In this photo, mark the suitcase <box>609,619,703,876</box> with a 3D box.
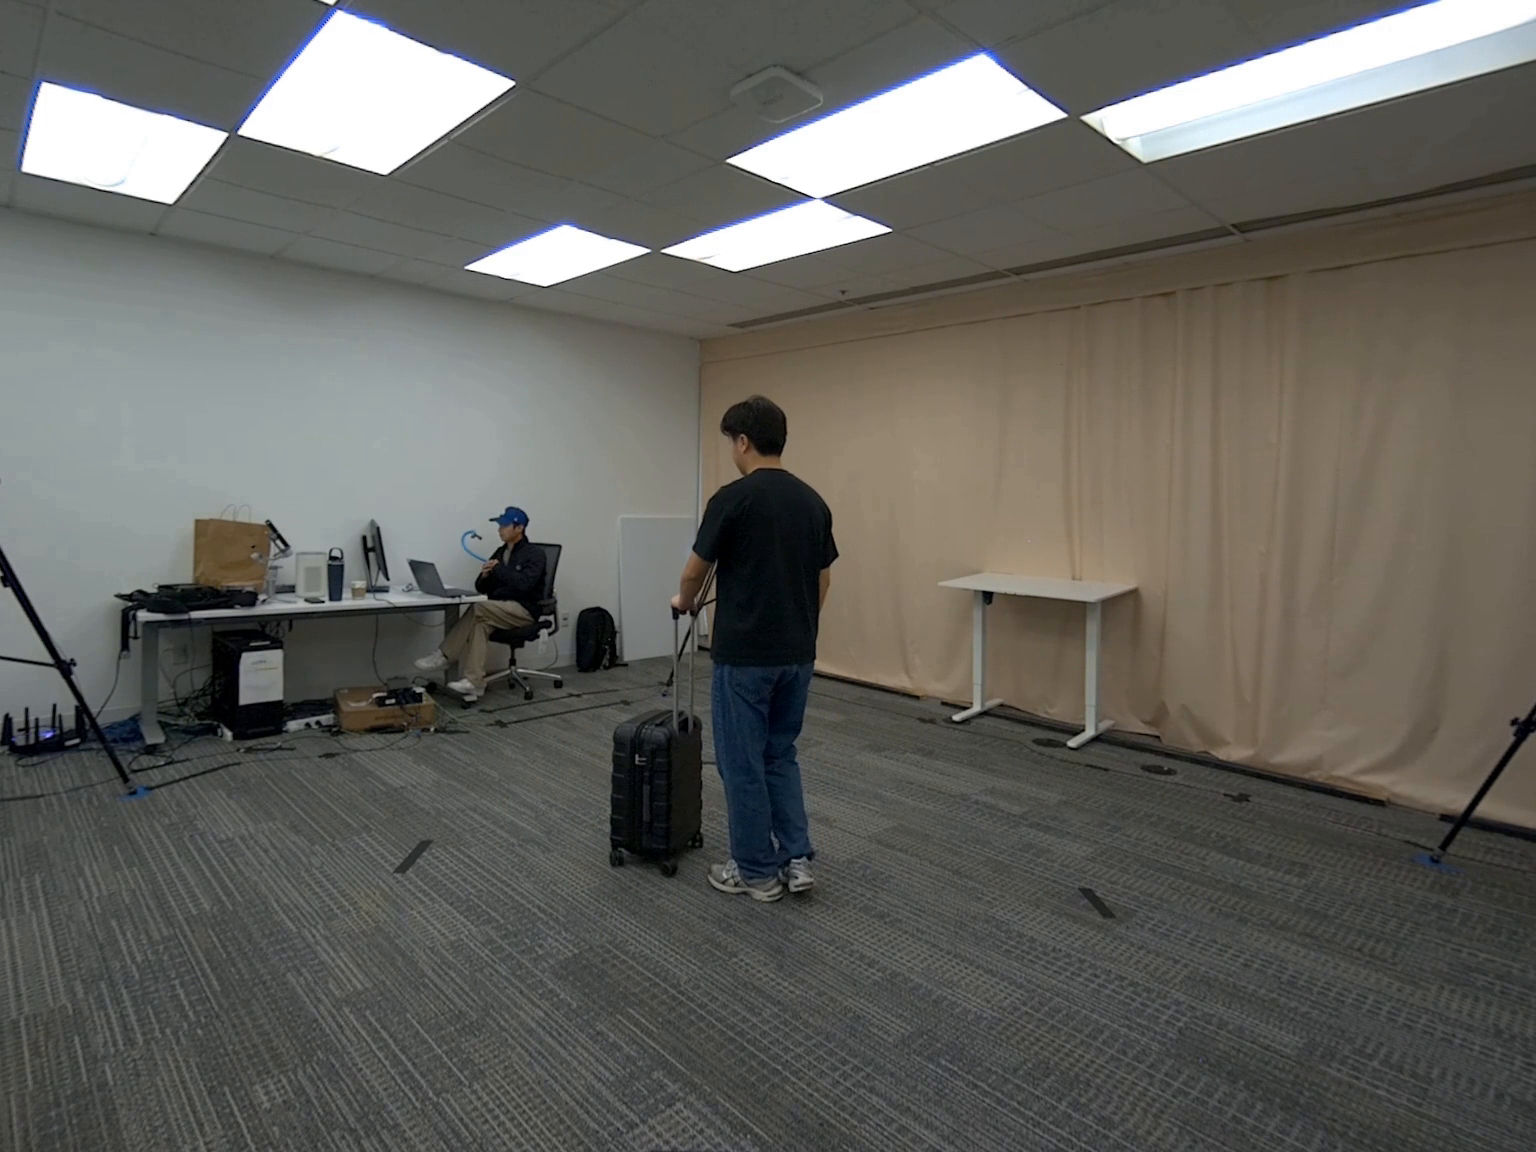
[{"bbox_3d":[-0.439,0.607,3.273,0.261,0.978,0.379,0,1,18],"label":"suitcase"}]
